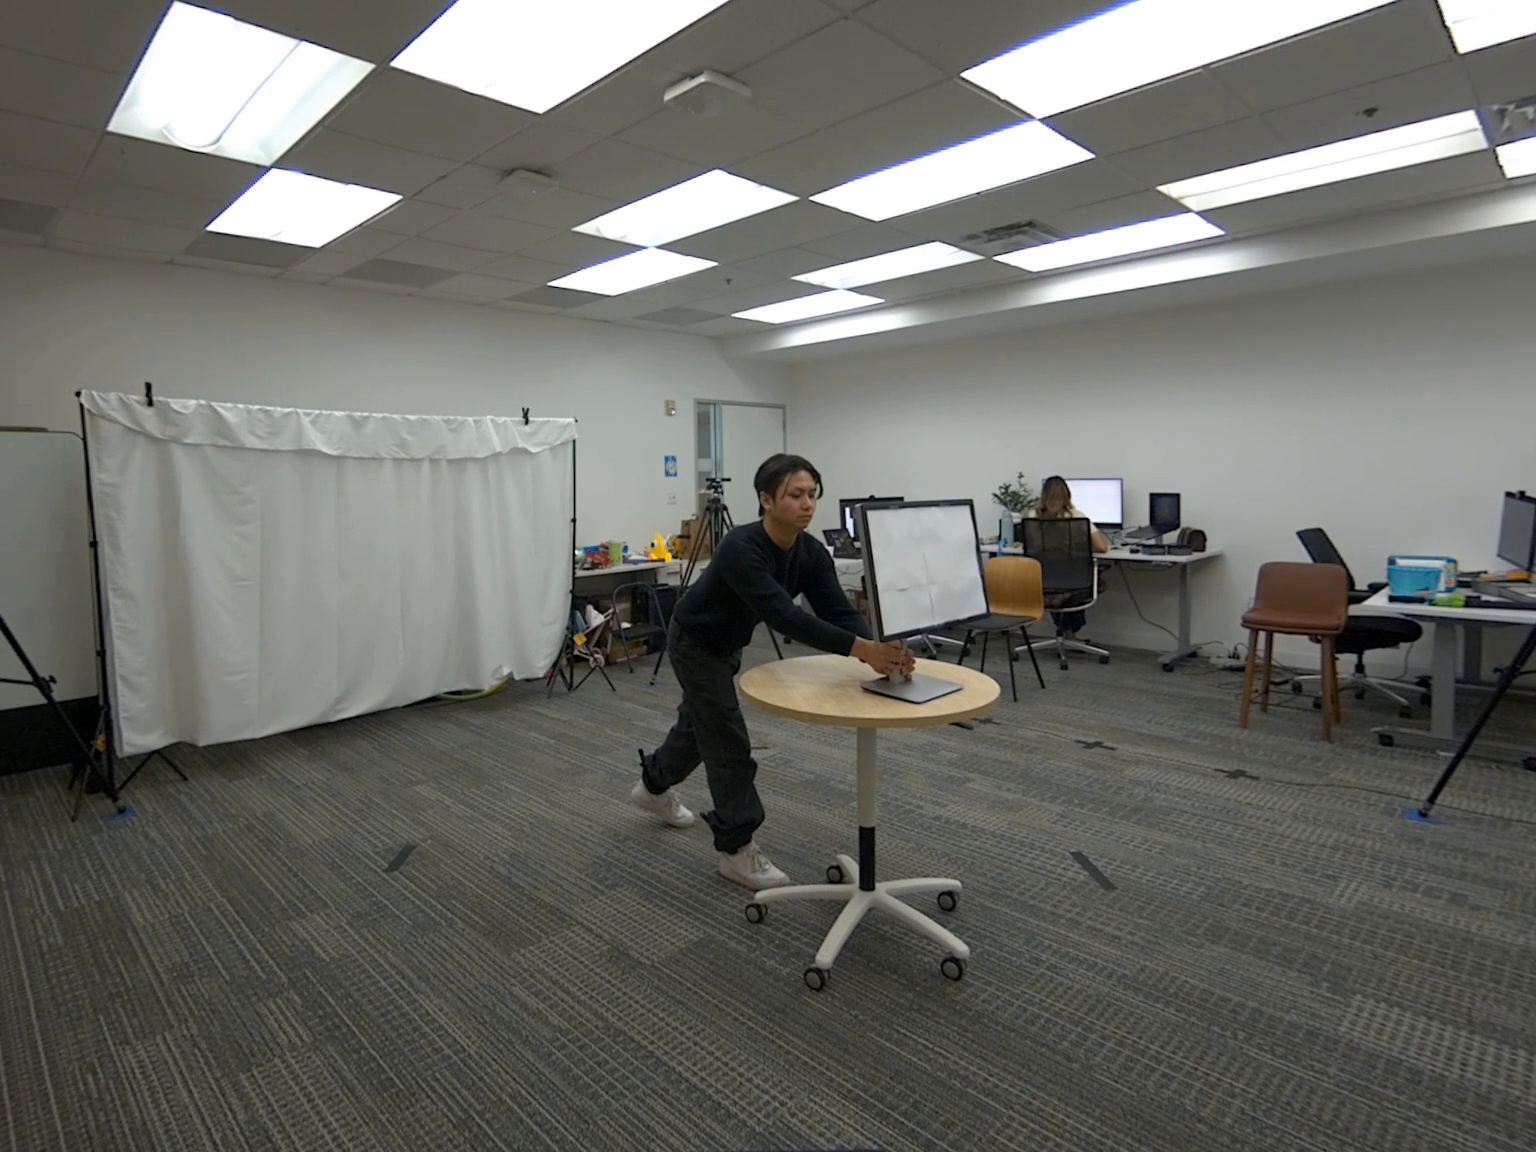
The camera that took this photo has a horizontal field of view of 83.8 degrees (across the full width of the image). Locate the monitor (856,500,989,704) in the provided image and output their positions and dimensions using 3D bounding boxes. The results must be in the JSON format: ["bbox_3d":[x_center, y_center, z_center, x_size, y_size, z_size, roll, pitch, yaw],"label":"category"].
[{"bbox_3d":[0.425,0.059,2.436,0.193,0.520,0.525,6,8,41],"label":"monitor"}]
